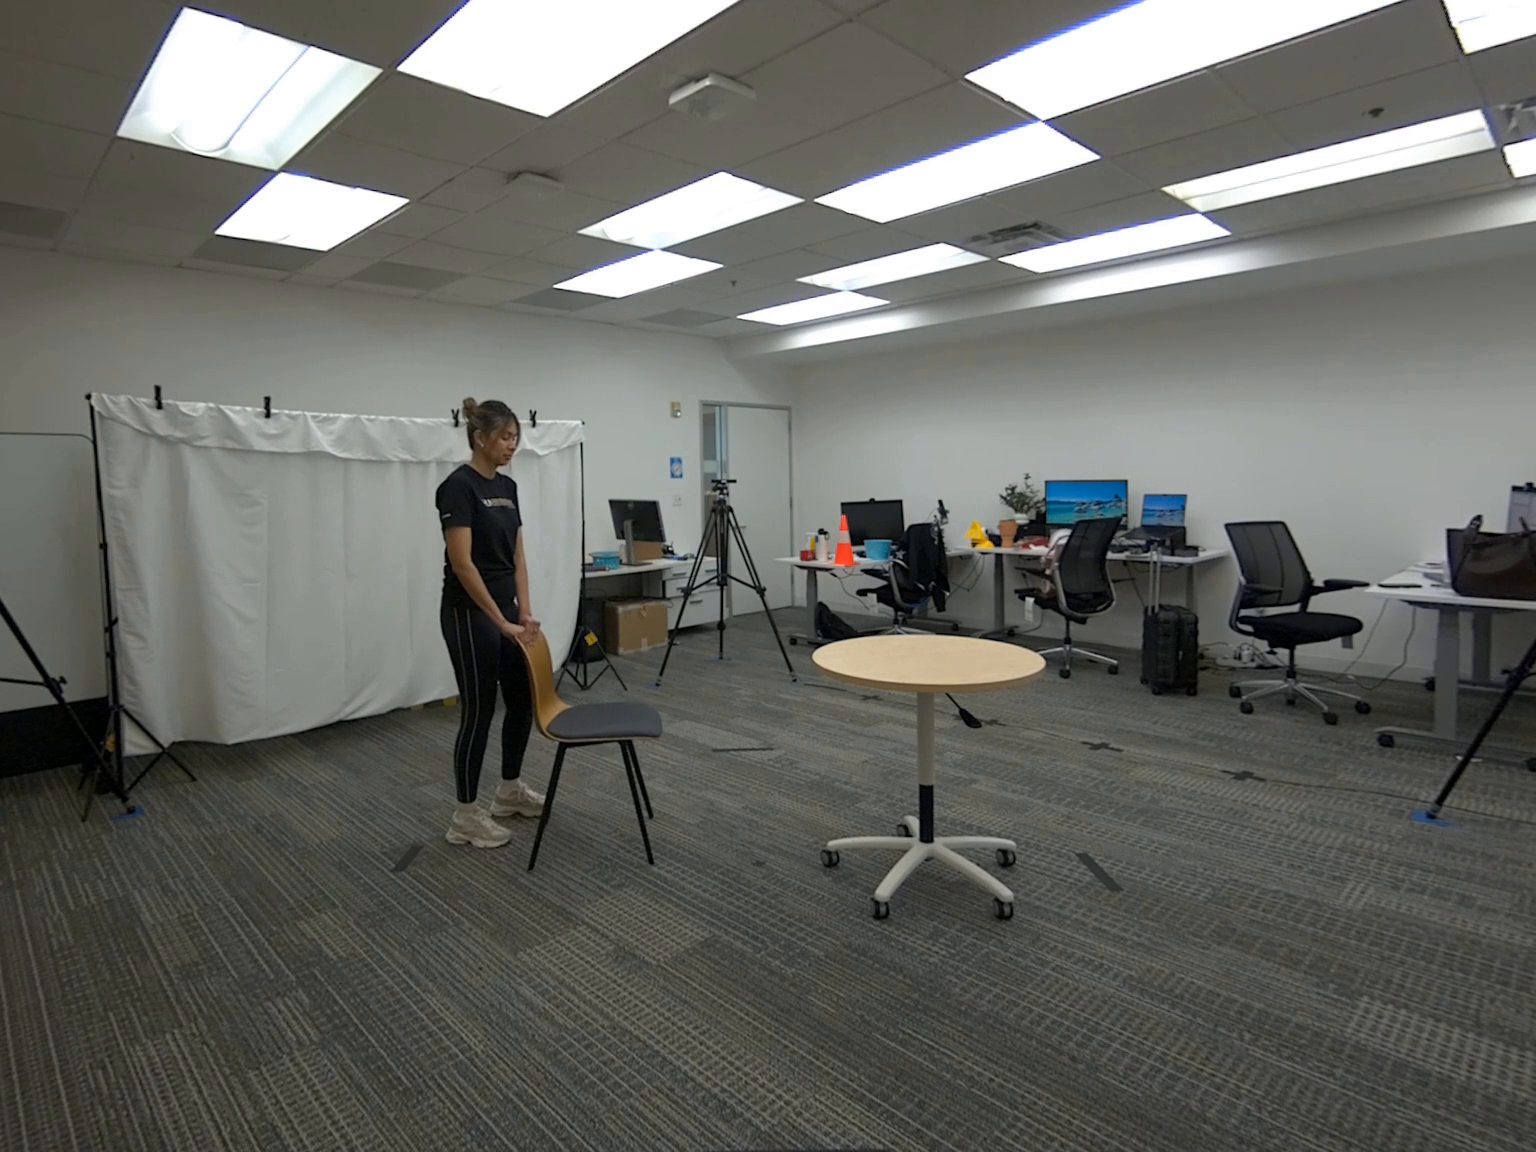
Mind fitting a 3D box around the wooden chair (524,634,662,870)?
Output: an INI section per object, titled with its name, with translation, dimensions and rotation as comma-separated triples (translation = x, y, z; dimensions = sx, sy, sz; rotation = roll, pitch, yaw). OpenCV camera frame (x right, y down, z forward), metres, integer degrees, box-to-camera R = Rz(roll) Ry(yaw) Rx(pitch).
[wooden chair]
translation = -0.664, 0.612, 3.286
dimensions = 0.521, 0.874, 0.482
rotation = -5, 4, -5
